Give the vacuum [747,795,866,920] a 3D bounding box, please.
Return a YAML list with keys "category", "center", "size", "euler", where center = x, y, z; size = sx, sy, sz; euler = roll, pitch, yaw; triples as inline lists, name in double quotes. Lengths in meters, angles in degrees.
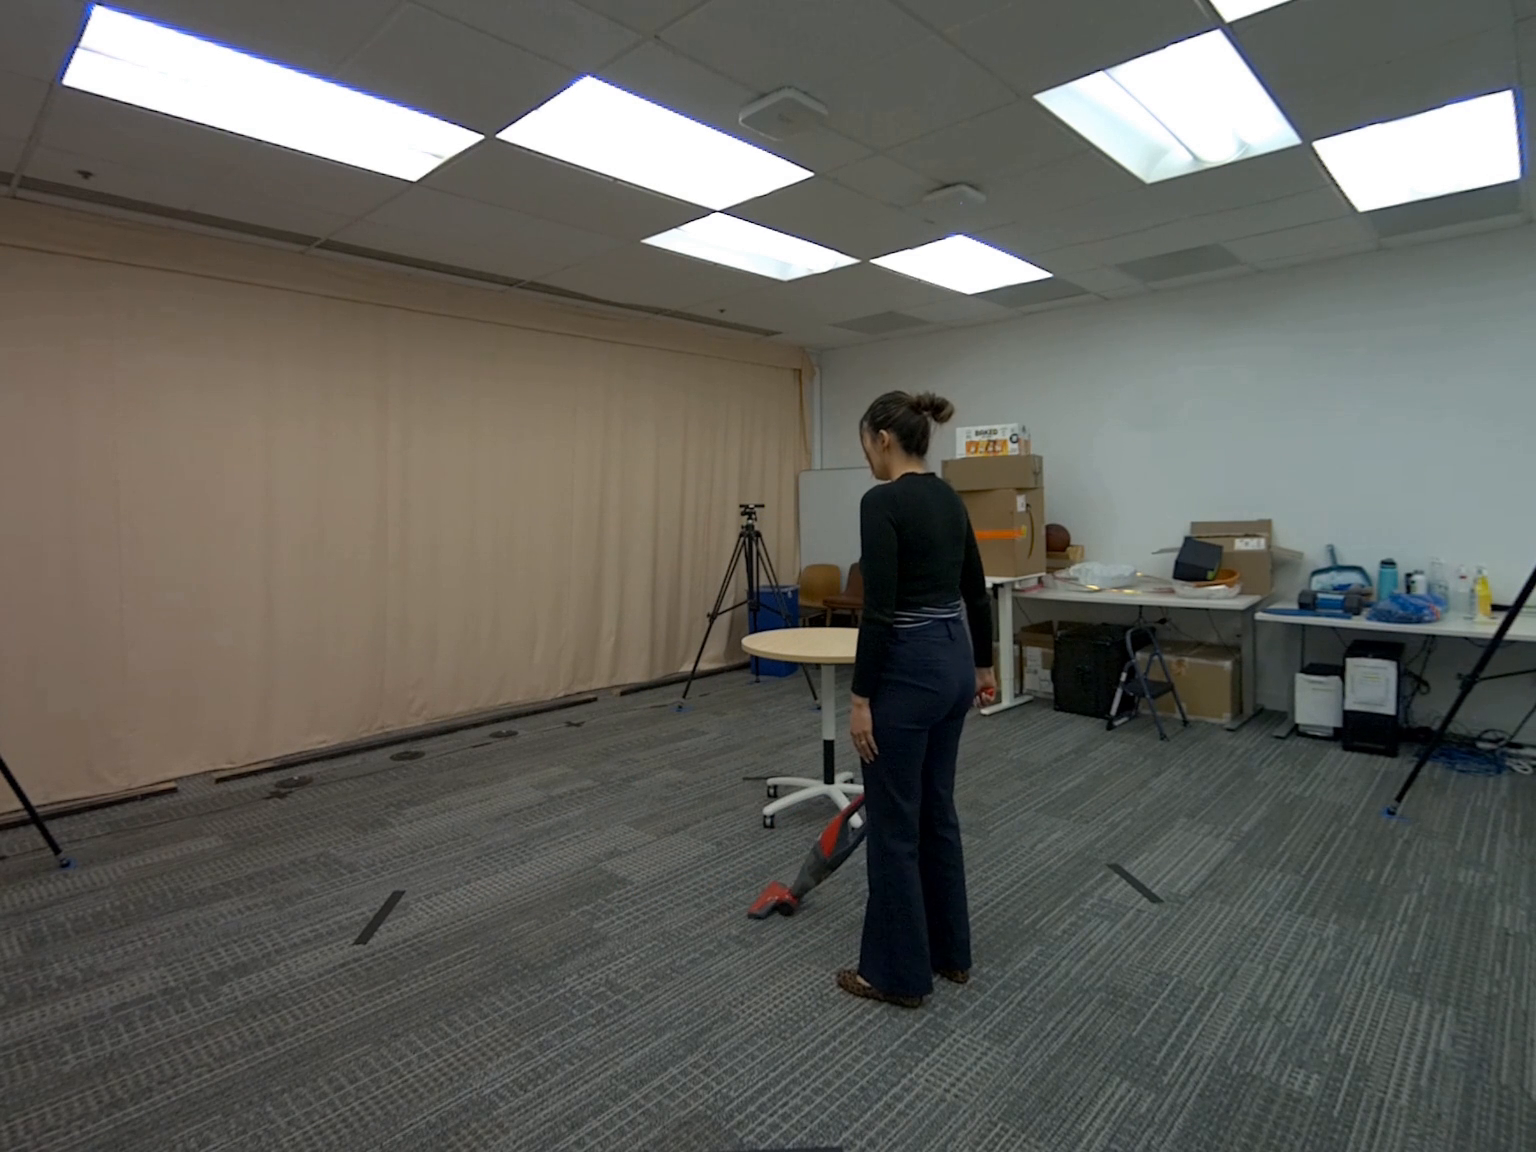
- category: "vacuum"
  center: [0.334, 0.753, 2.777]
  size: [0.146, 1.053, 0.248]
  euler: [43, 18, 9]
